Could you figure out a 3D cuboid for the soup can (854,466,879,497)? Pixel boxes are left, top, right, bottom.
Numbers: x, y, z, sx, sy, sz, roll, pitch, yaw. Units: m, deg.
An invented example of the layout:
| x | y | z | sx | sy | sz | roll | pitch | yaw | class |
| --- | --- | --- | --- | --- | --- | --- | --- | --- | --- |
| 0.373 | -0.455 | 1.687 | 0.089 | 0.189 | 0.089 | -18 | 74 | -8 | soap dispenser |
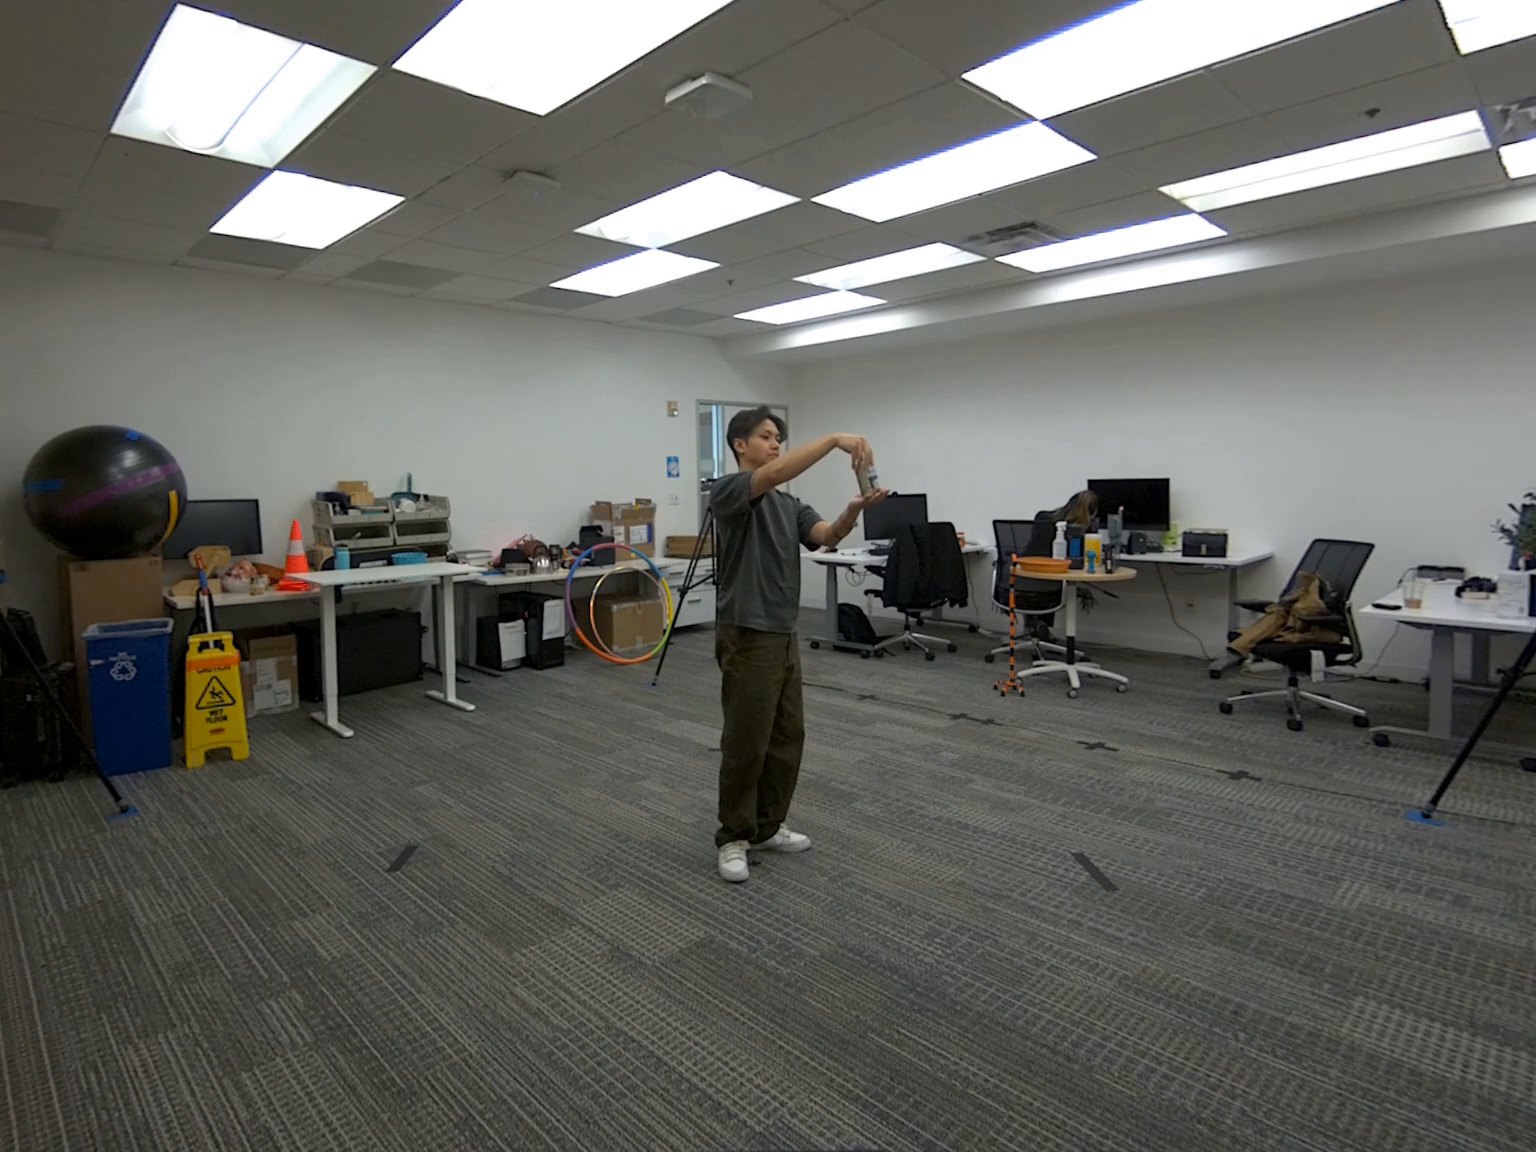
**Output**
| x | y | z | sx | sy | sz | roll | pitch | yaw | class |
| --- | --- | --- | --- | --- | --- | --- | --- | --- | --- |
| 0.324 | -0.317 | 2.798 | 0.067 | 0.120 | 0.067 | -14 | 7 | 0 | soup can |
